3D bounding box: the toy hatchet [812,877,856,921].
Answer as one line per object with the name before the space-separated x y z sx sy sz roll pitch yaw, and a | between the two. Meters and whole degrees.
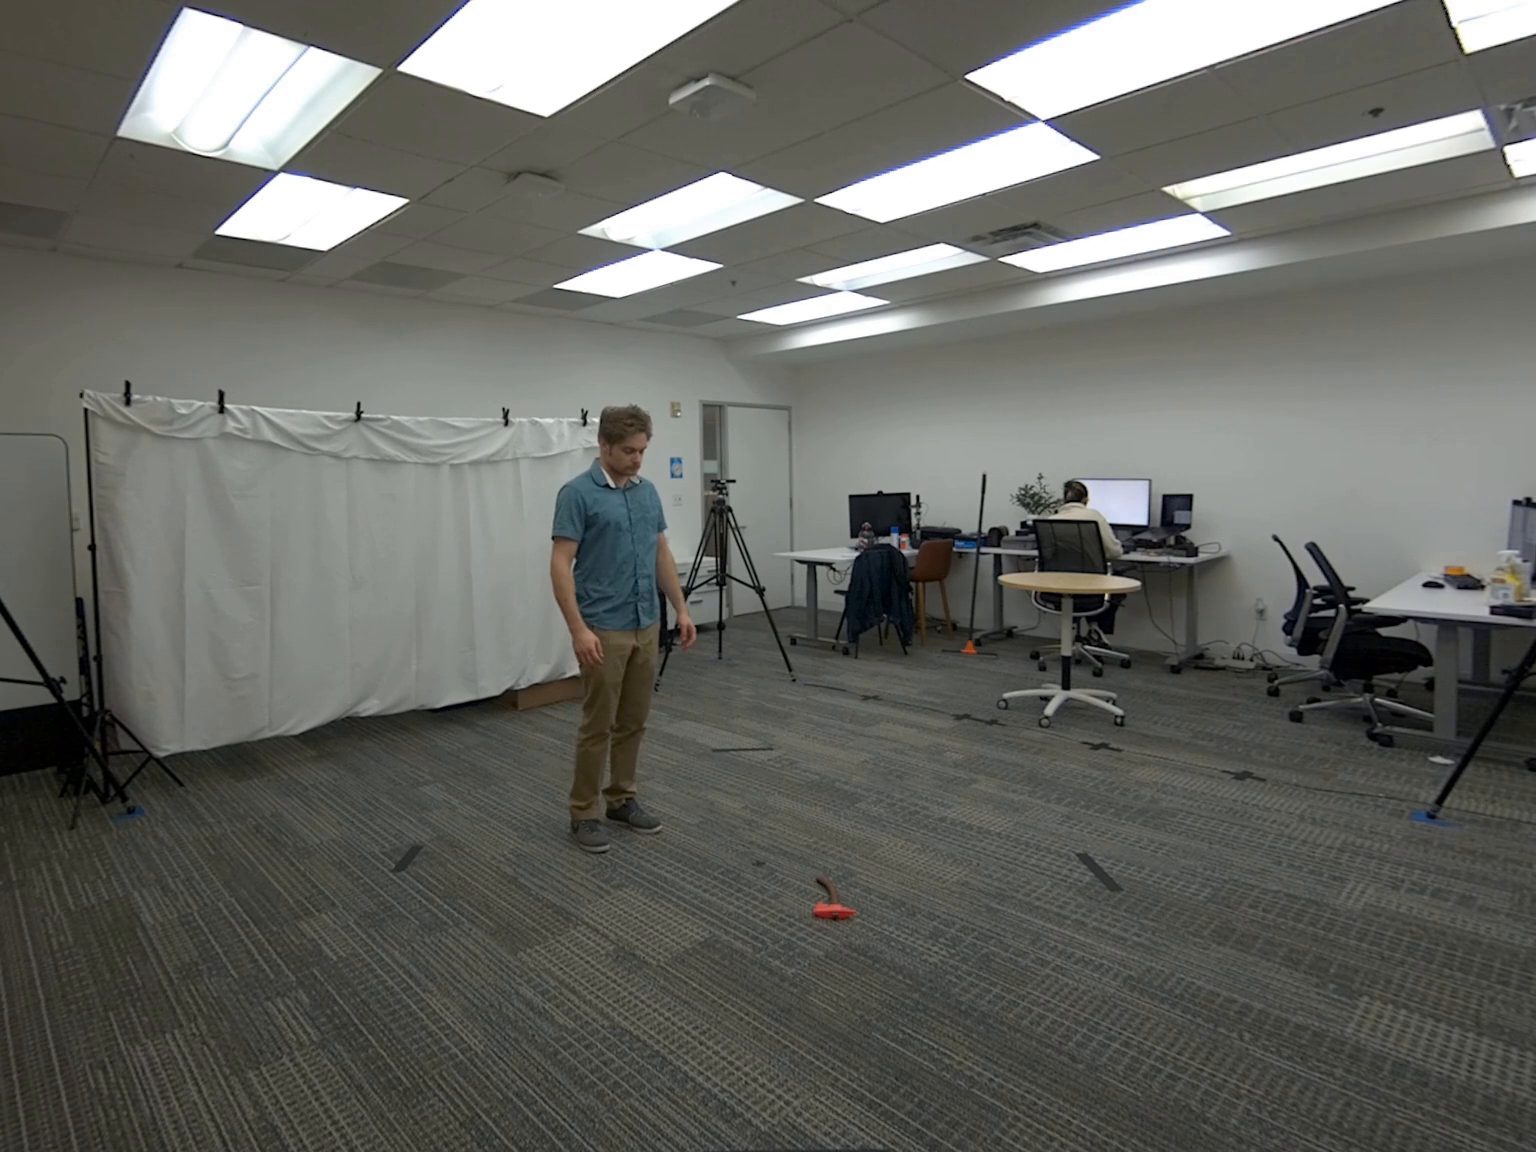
toy hatchet | 0.184 1.067 2.823 0.129 0.029 0.275 -6 5 -17
